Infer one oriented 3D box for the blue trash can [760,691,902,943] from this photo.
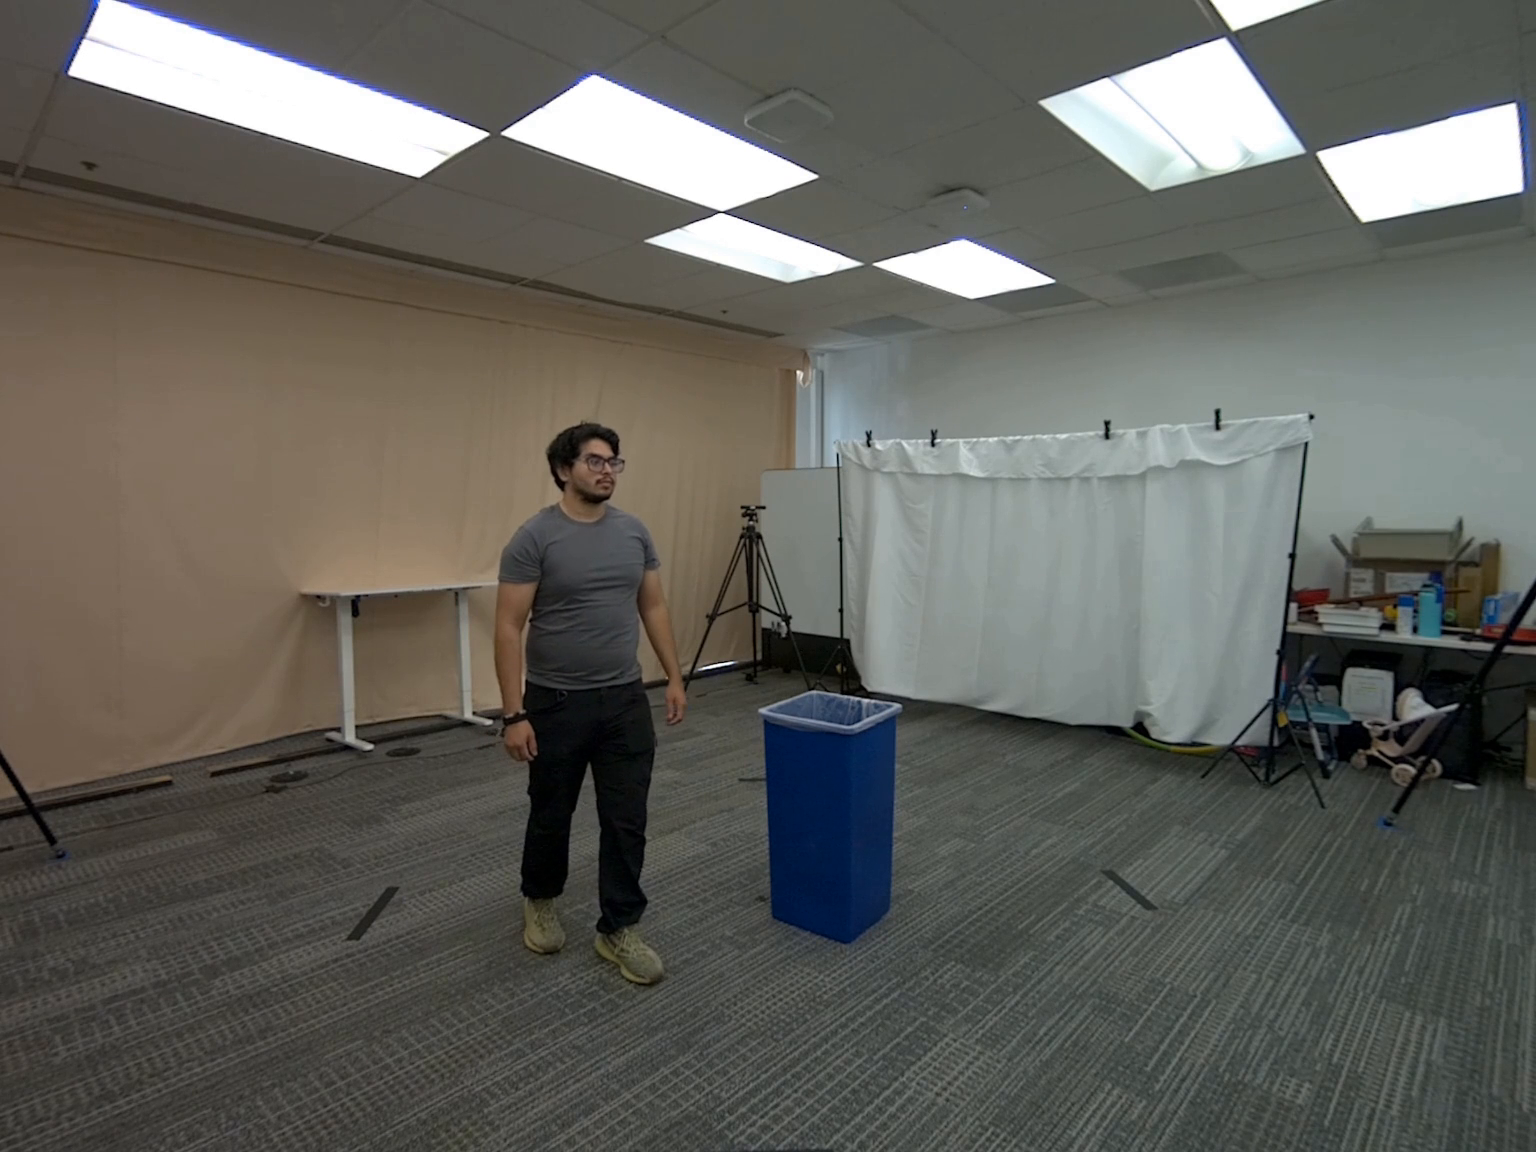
[{"bbox_3d":[0.216,0.798,2.846,0.390,0.712,0.363,2,4,36],"label":"blue trash can"}]
